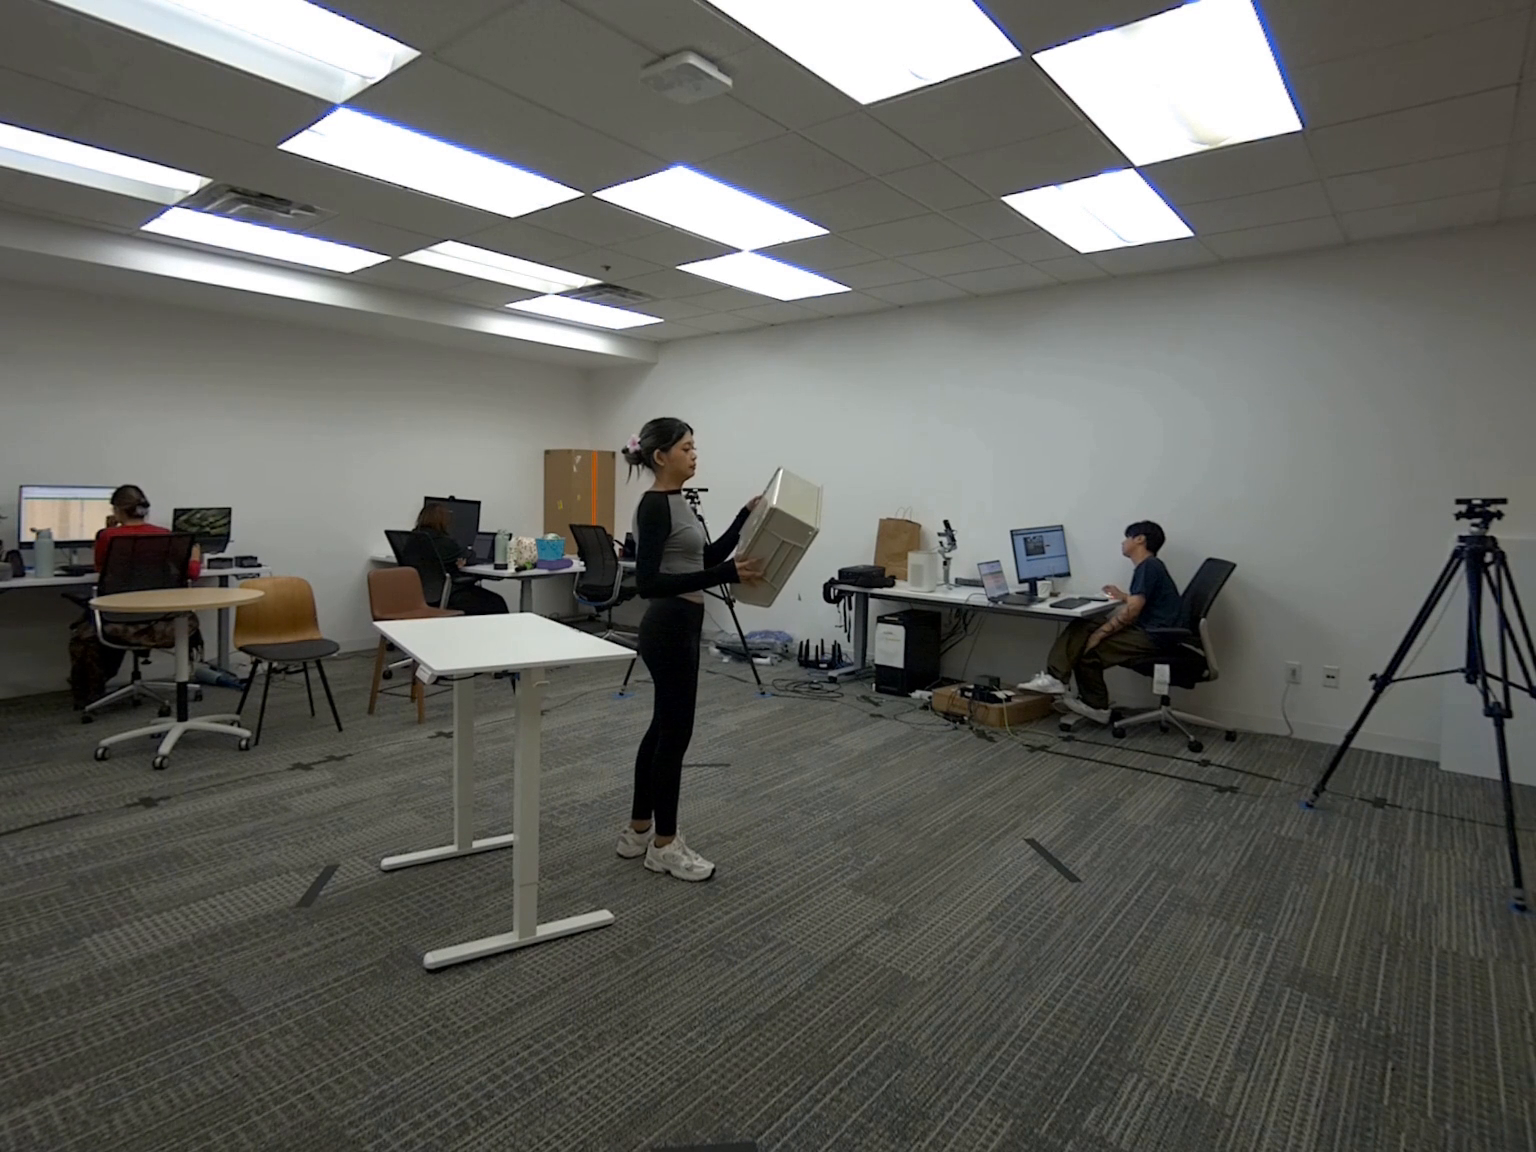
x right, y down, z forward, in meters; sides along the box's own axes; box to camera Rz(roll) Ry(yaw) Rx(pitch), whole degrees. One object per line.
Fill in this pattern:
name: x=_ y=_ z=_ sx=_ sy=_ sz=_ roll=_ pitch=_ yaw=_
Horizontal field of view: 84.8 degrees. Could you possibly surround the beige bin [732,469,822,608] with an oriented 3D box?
beige bin: x=0.017 y=-0.142 z=3.030 sx=0.188 sy=0.374 sz=0.428 roll=28 pitch=27 yaw=-6
